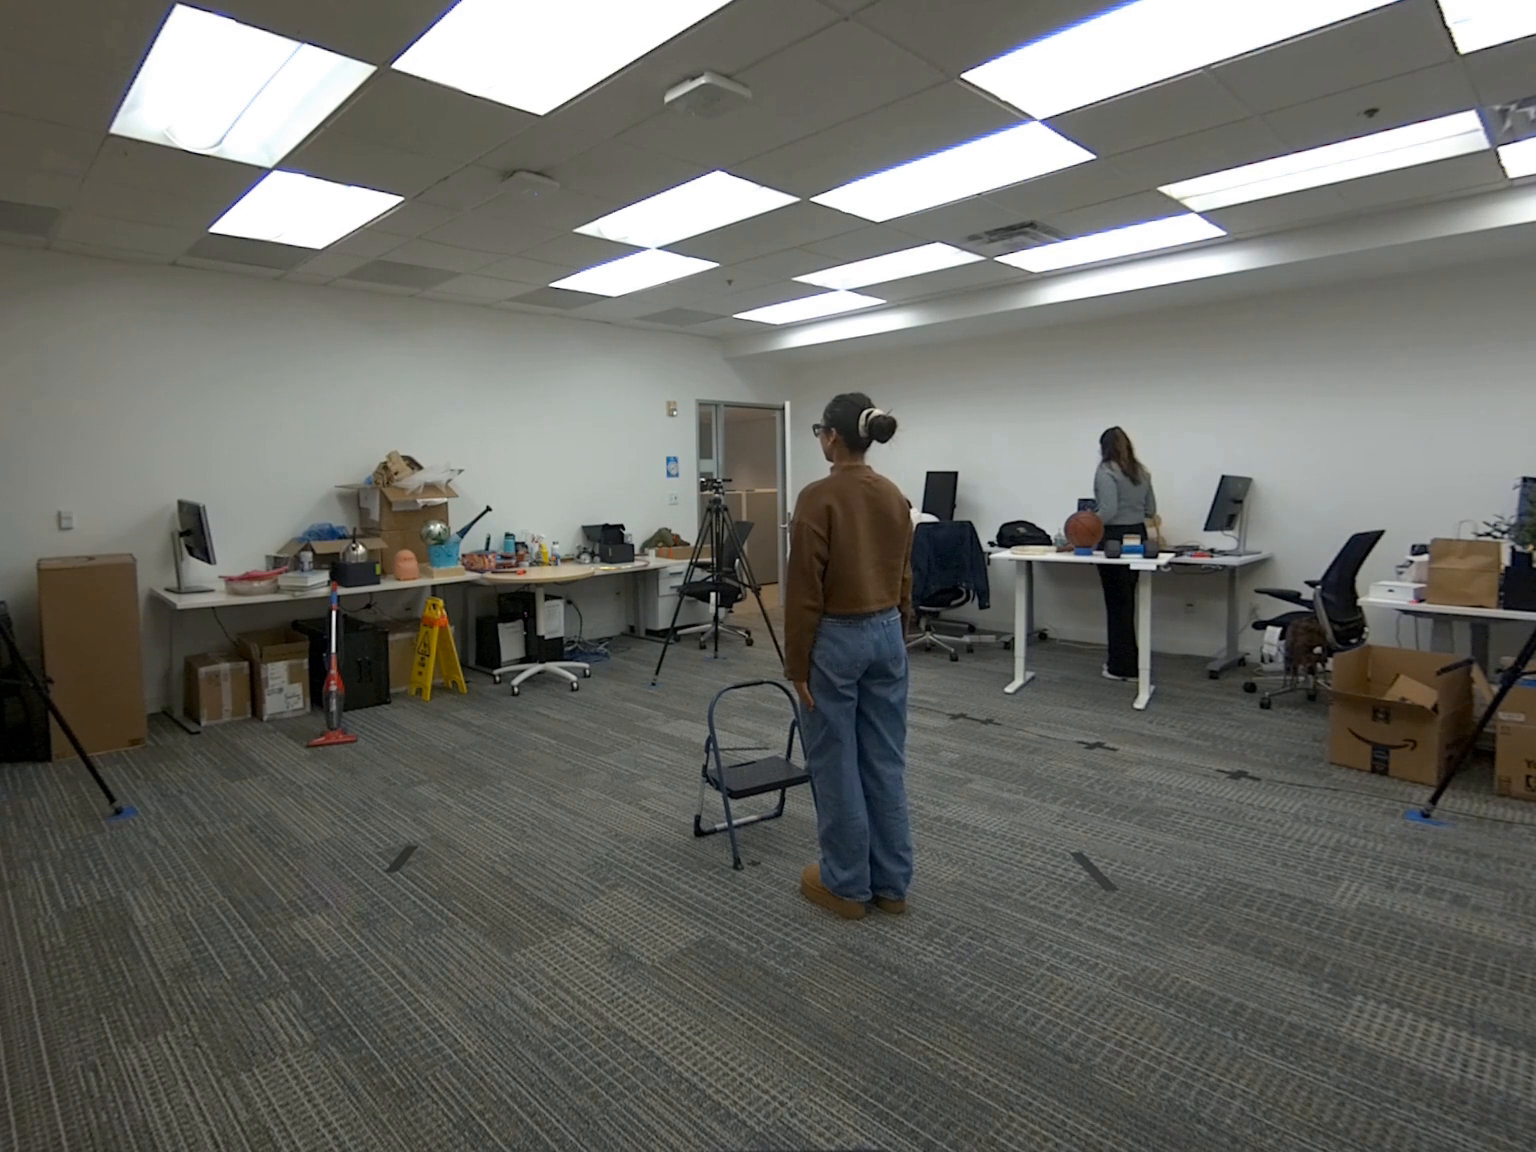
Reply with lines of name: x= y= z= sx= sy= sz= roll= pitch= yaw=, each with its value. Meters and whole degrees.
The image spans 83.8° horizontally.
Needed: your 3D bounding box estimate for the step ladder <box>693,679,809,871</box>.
step ladder: x=-0.030 y=0.718 z=3.289 sx=0.420 sy=0.604 sz=0.359 roll=-4 pitch=5 yaw=-33
